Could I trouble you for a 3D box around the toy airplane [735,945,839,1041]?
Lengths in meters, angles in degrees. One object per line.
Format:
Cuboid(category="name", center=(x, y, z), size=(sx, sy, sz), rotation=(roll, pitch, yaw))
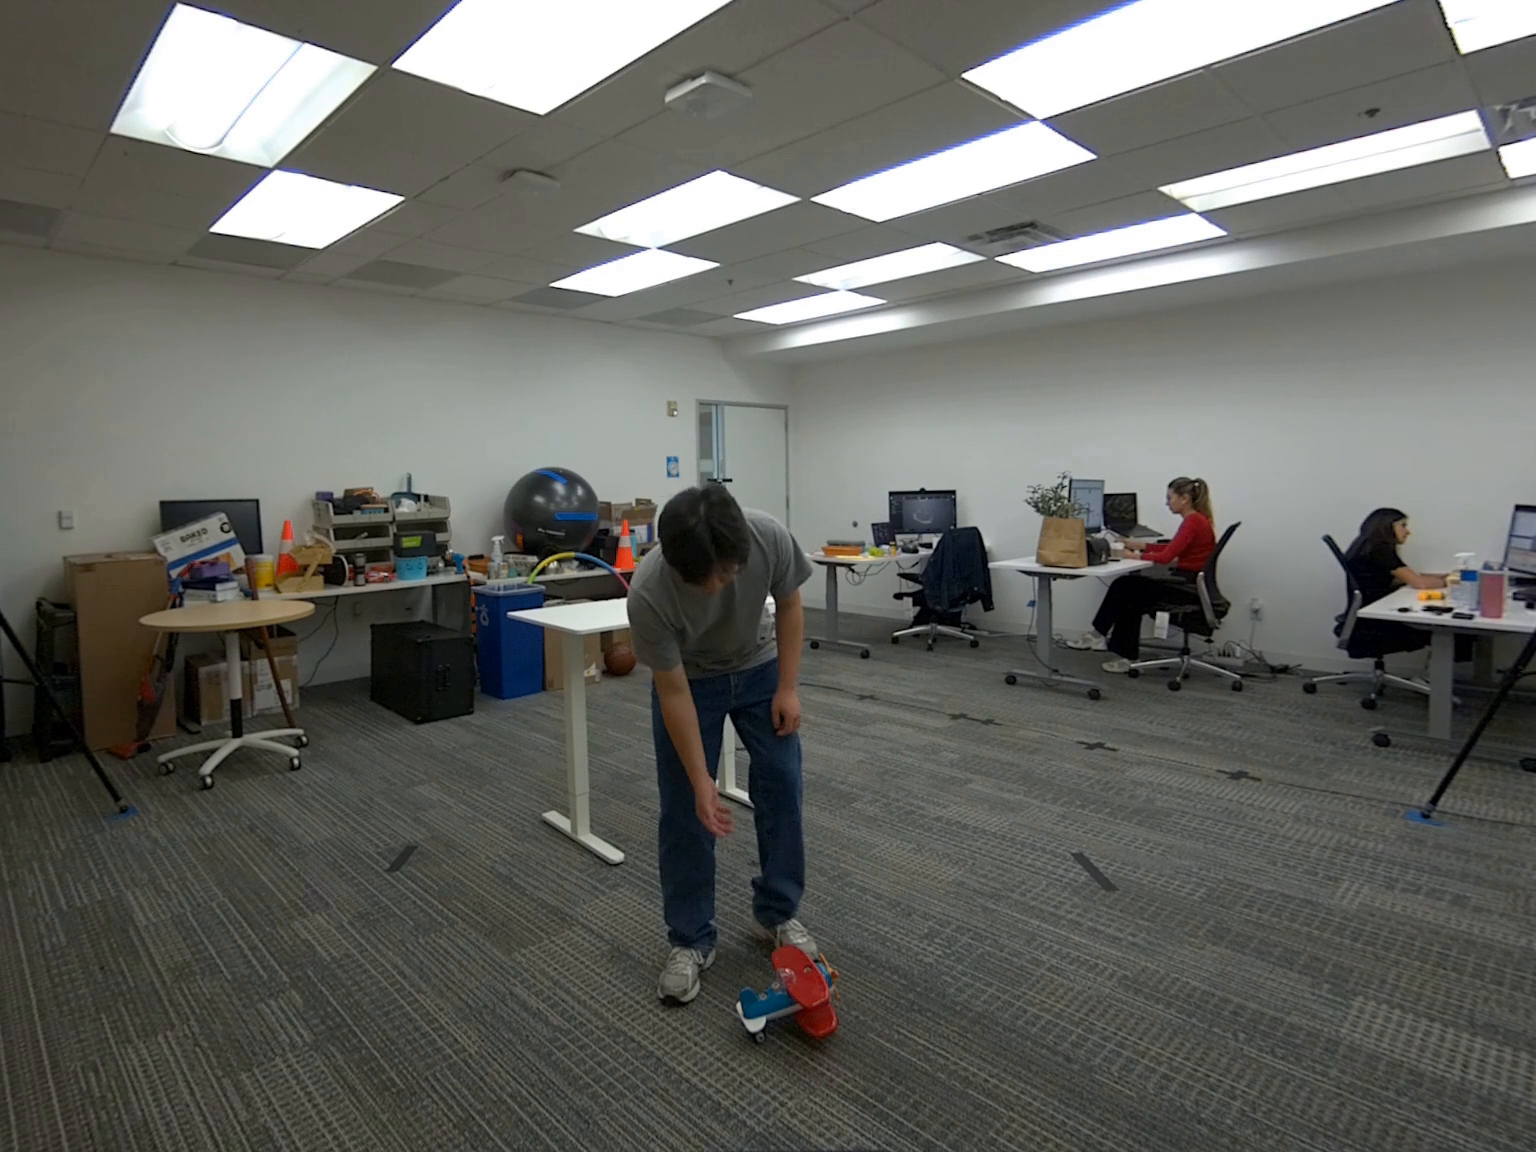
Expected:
Cuboid(category="toy airplane", center=(0.068, 1.088, 2.146), size=(0.259, 0.156, 0.252), rotation=(4, 8, 42))
